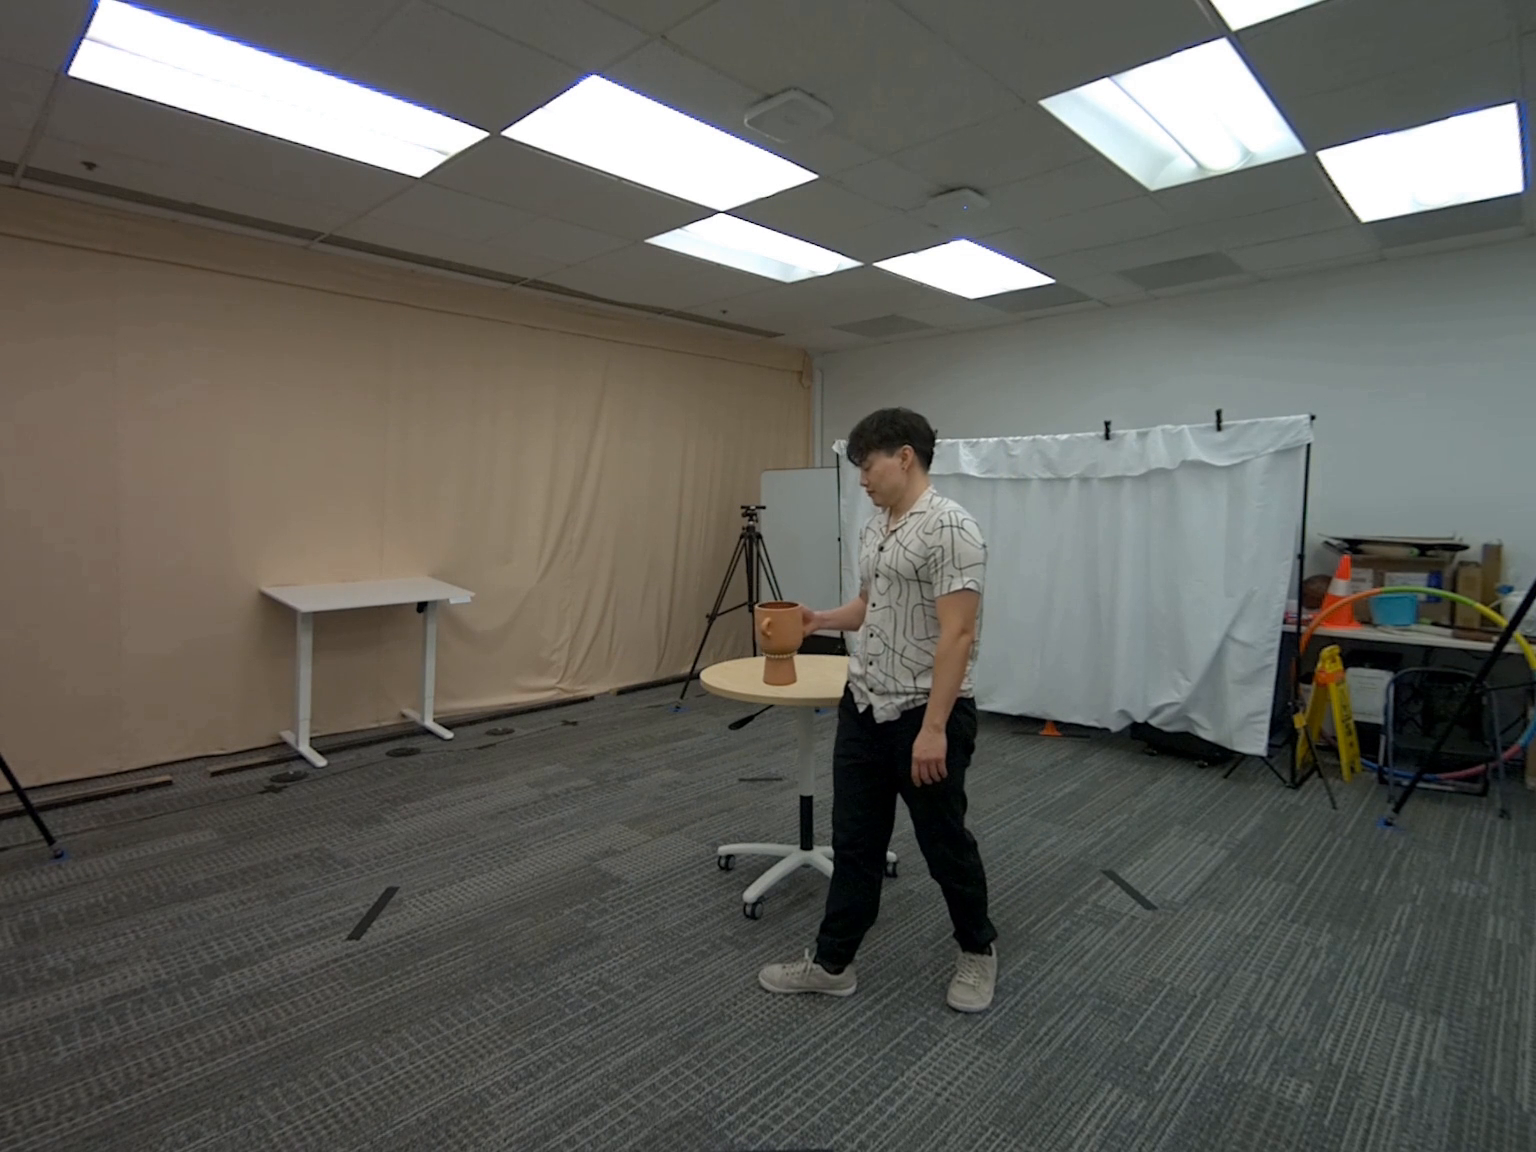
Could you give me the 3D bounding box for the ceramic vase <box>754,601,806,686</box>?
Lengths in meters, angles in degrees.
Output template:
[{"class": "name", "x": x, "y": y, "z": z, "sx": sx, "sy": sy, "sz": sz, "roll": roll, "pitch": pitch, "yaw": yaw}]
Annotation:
[{"class": "ceramic vase", "x": 0.043, "y": 0.188, "z": 2.381, "sx": 0.155, "sy": 0.218, "sz": 0.138, "roll": -6, "pitch": 10, "yaw": -24}]
